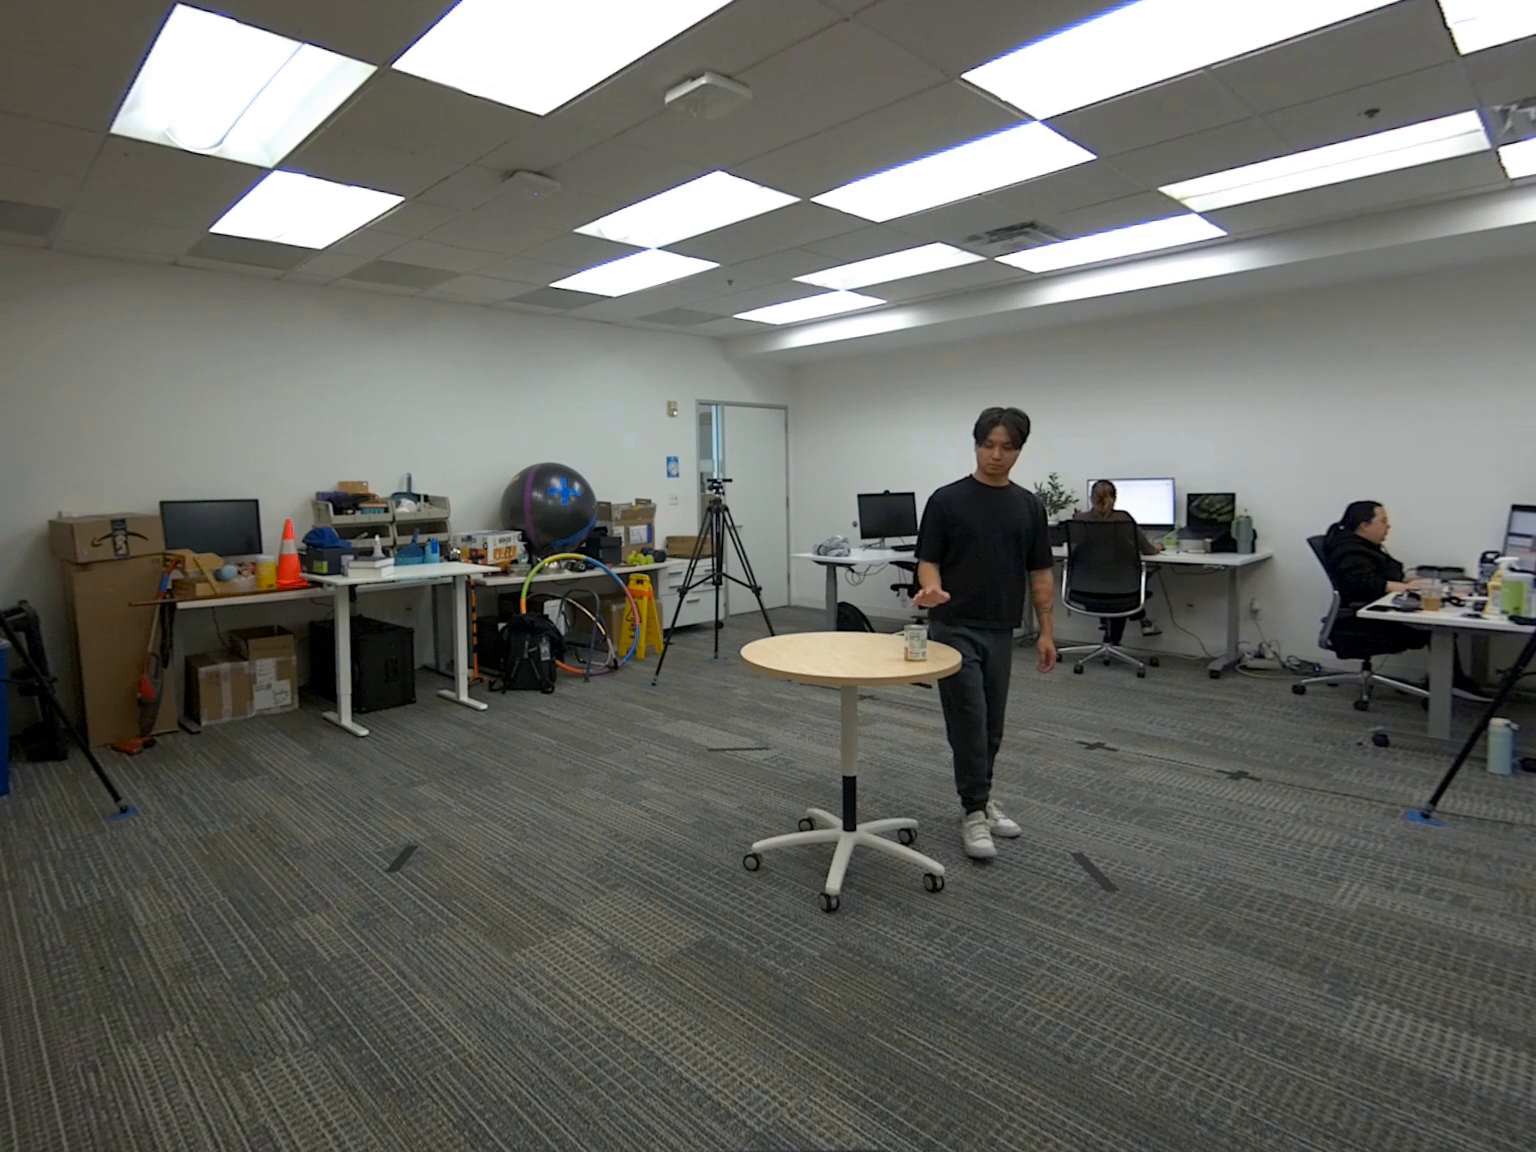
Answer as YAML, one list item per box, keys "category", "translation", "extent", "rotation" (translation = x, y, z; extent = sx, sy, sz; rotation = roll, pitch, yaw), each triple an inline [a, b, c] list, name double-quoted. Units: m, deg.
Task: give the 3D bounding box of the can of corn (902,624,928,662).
- category: "can of corn"
  translation: [0.504, 0.228, 2.864]
  extent: [0.074, 0.111, 0.074]
  rotation: [-1, 2, -2]
